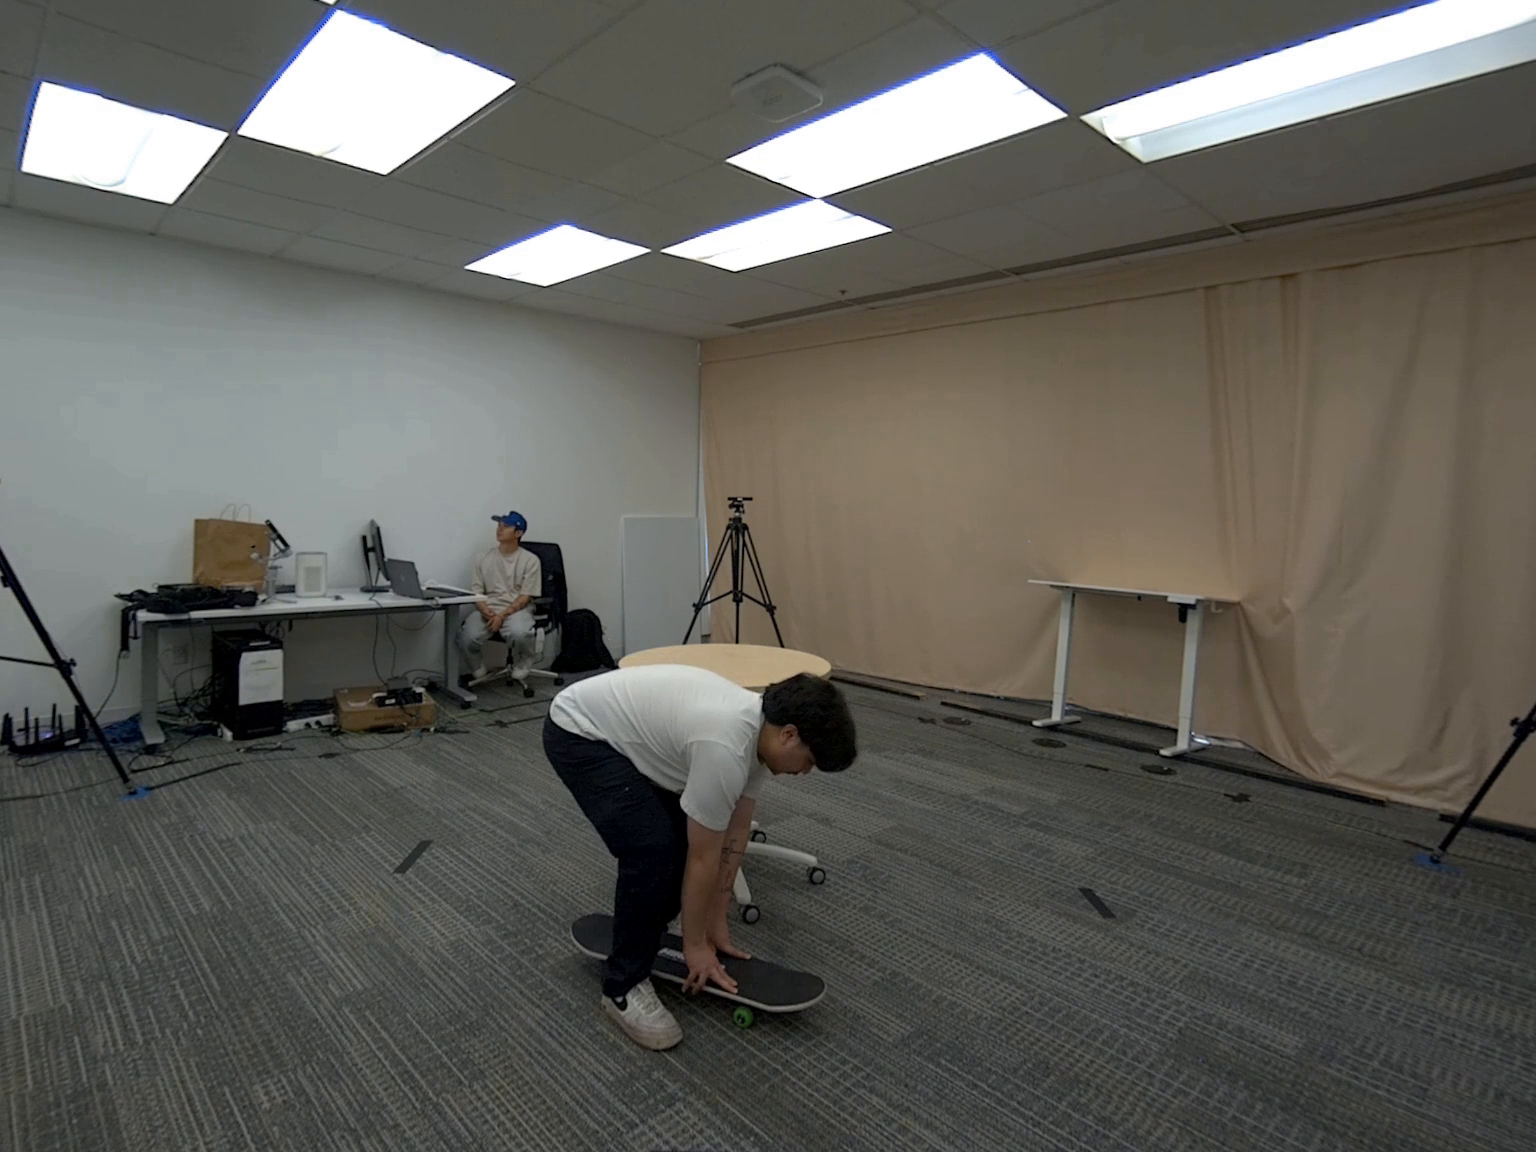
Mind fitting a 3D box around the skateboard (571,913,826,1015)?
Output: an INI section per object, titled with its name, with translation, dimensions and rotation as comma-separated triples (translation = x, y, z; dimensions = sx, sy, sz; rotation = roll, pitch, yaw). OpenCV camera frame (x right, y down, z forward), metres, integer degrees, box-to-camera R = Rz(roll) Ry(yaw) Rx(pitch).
[skateboard]
translation = -0.227, 1.117, 2.384
dimensions = 0.801, 0.110, 0.190
rotation = 4, 5, 26
